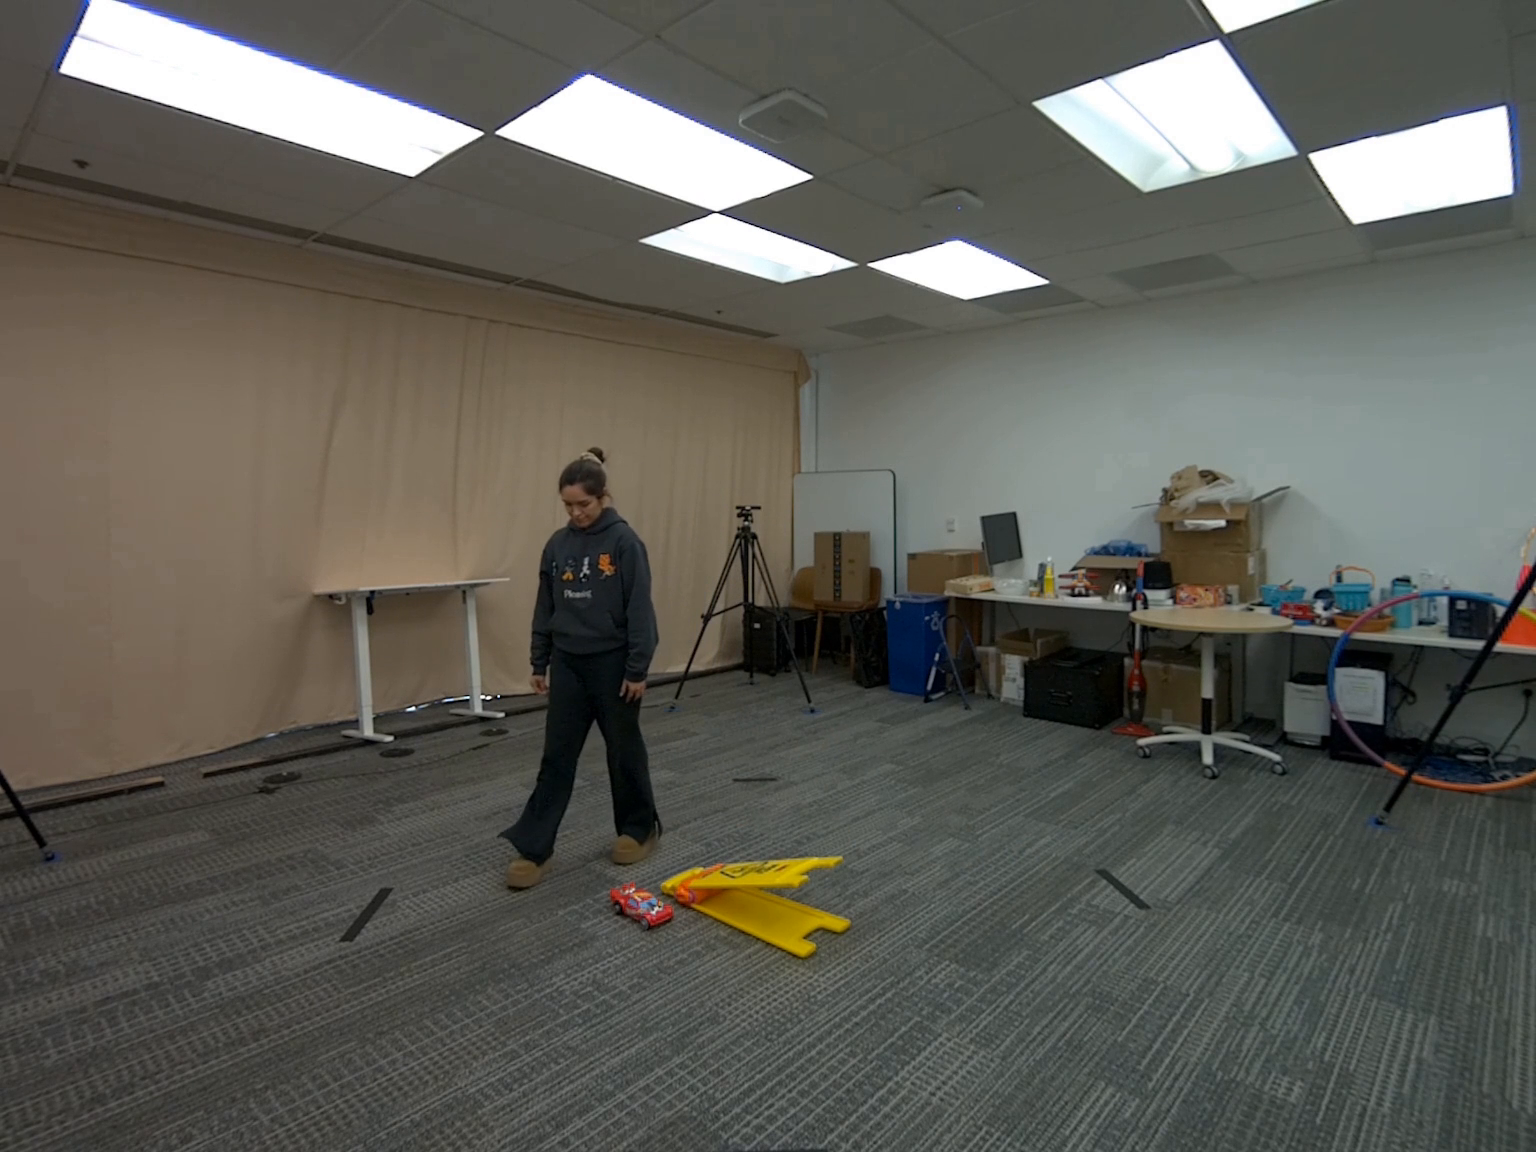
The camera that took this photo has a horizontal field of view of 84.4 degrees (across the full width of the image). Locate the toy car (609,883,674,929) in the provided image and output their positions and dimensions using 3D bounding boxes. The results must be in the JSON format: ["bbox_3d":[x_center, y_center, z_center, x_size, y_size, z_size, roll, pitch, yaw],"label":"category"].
[{"bbox_3d":[-0.416,1.128,2.871,0.126,0.083,0.264,-5,16,-43],"label":"toy car"}]
